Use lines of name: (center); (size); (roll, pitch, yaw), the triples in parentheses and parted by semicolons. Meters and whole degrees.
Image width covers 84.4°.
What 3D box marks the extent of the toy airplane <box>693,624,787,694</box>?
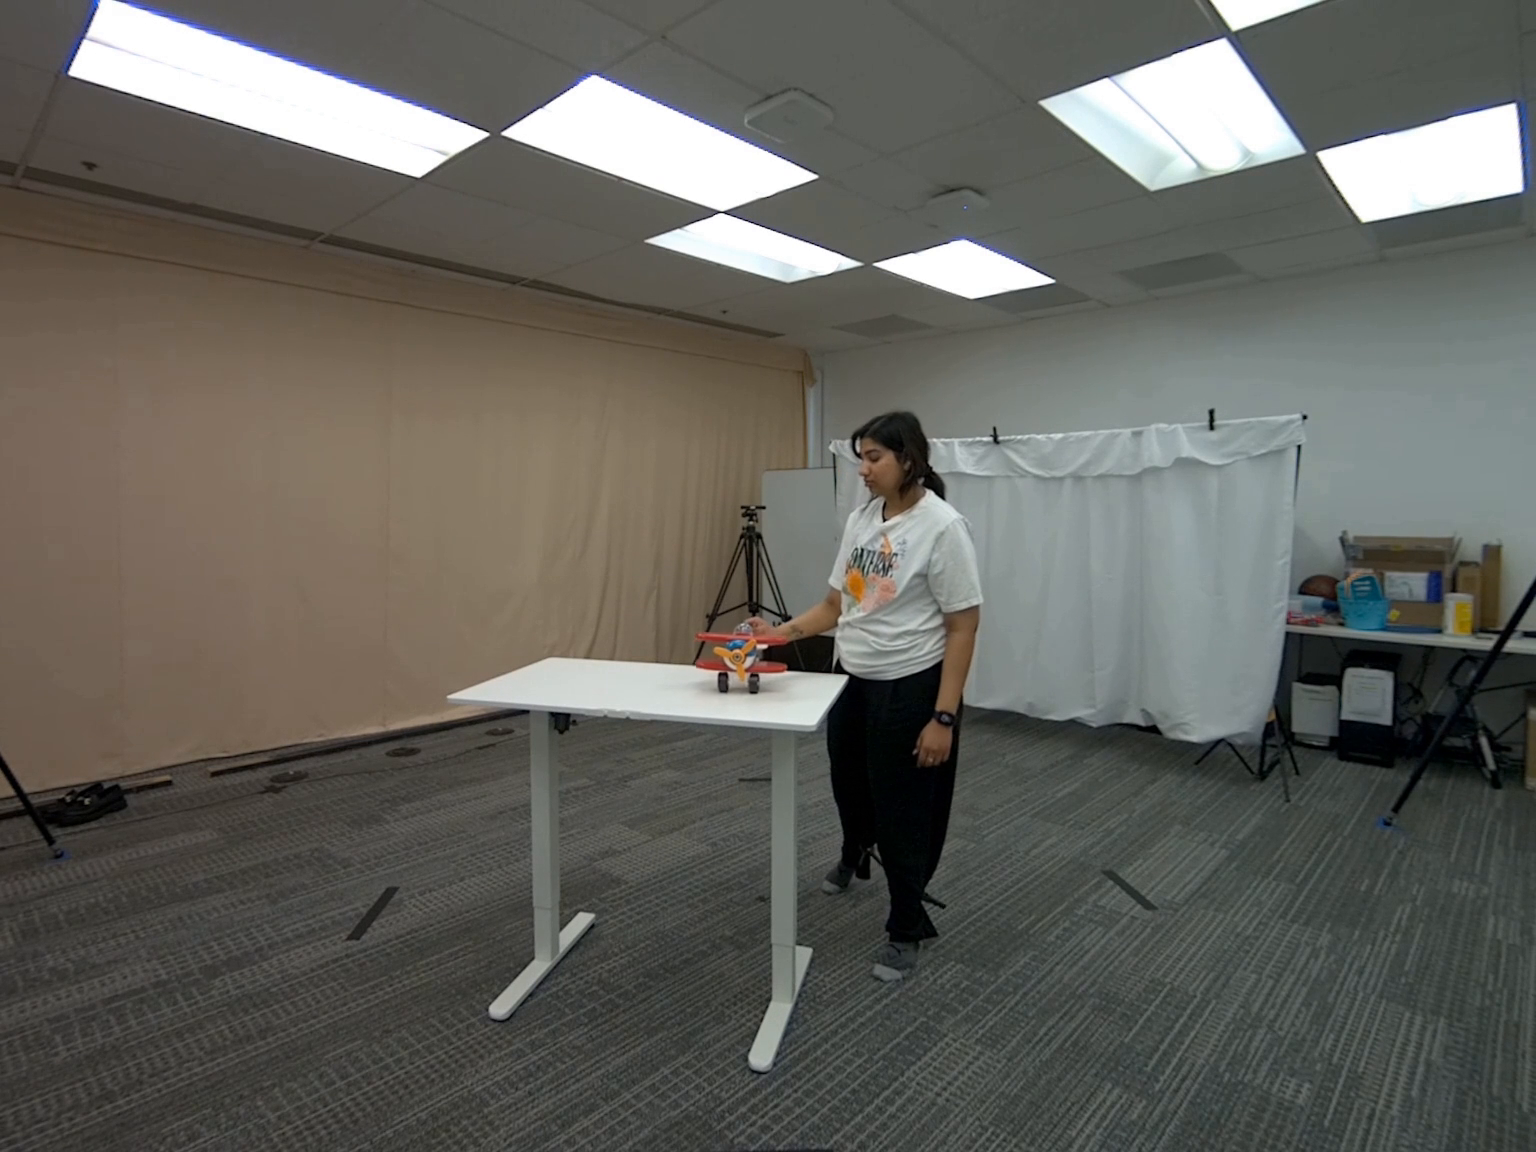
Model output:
toy airplane: (-0.092, 0.223, 2.398); (0.246, 0.155, 0.267); (-8, 19, -21)
